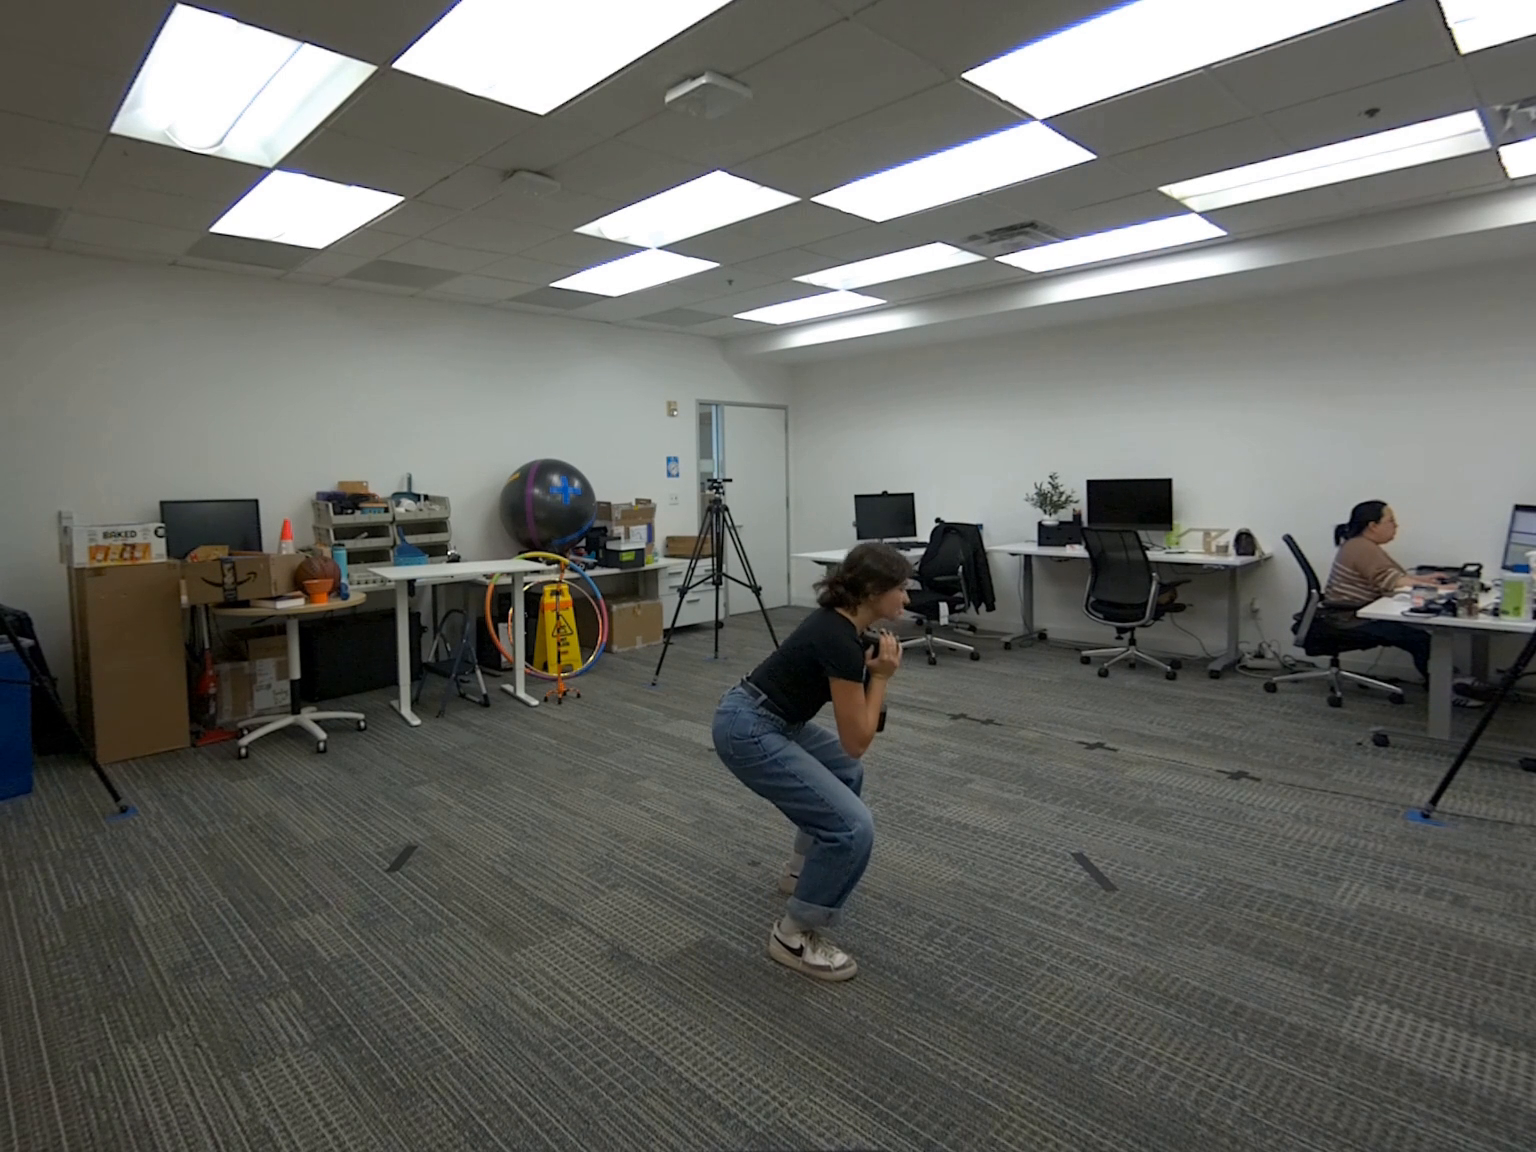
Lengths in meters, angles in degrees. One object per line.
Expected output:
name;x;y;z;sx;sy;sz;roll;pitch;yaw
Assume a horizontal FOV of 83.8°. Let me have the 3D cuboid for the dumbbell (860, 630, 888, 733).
dumbbell;0.304;0.325;2.619;0.127;0.292;0.105;13;7;36
